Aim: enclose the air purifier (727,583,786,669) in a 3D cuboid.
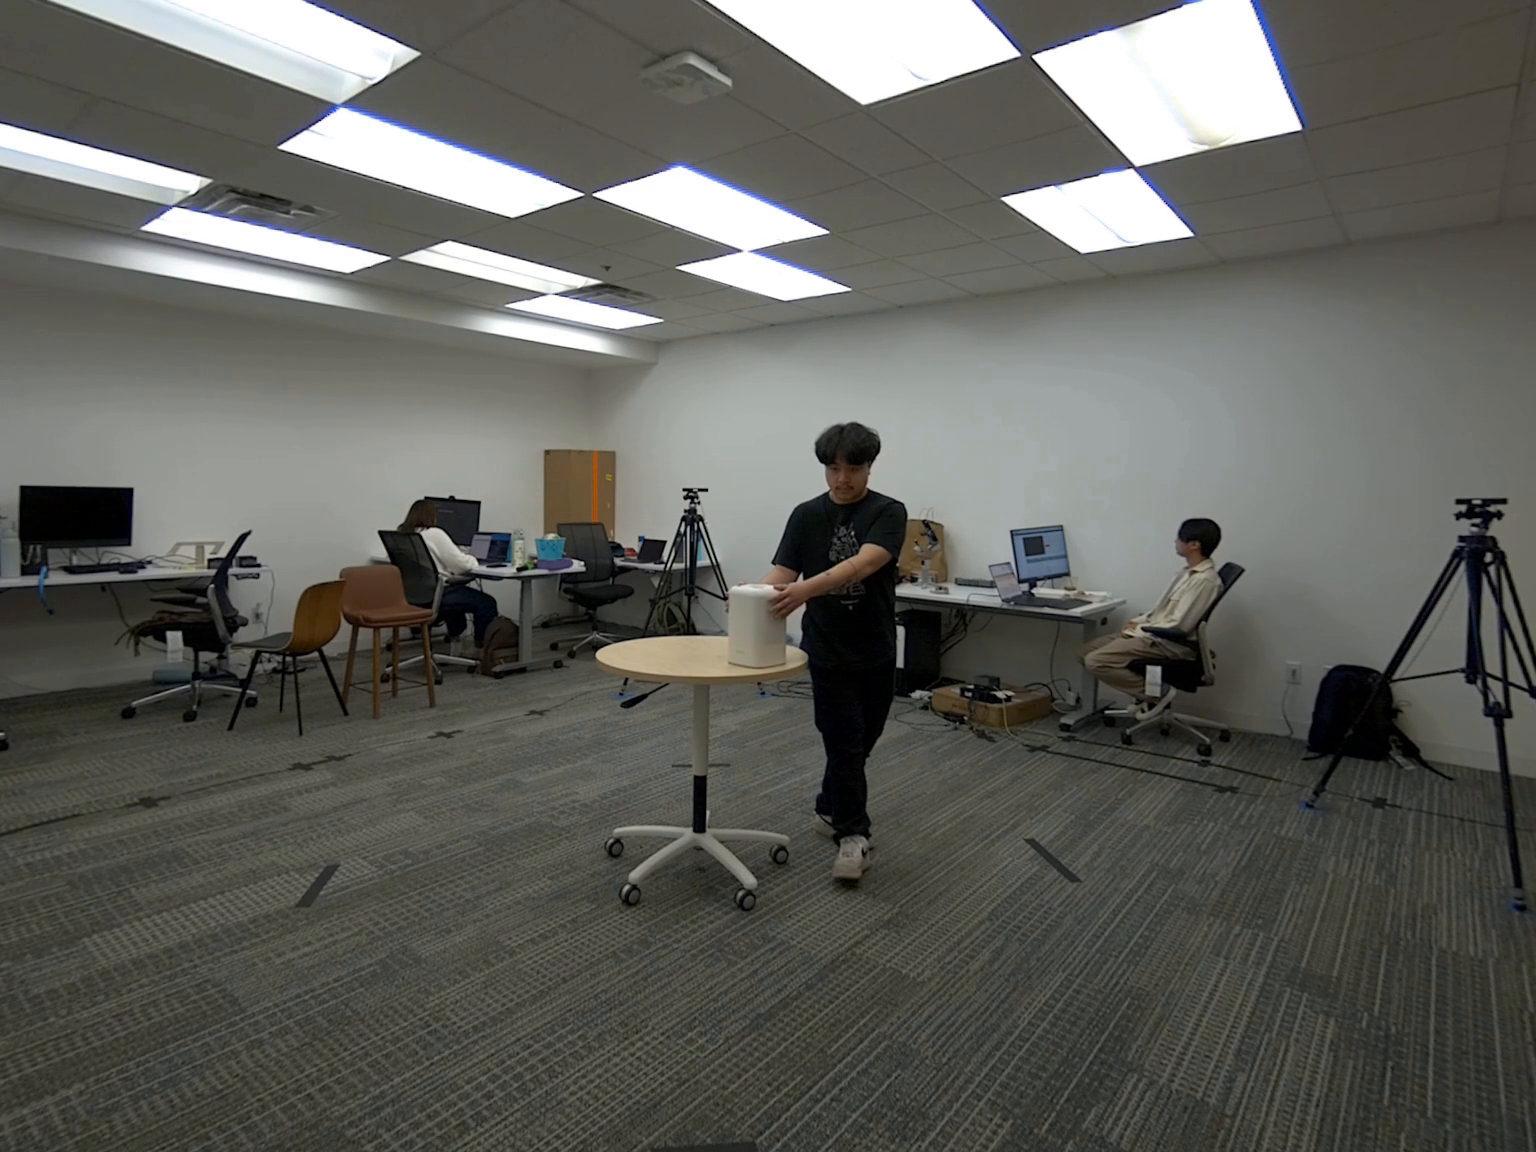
[{"bbox_3d":[-0.045,0.165,2.923,0.166,0.264,0.177,-2,6,-43],"label":"air purifier"}]
